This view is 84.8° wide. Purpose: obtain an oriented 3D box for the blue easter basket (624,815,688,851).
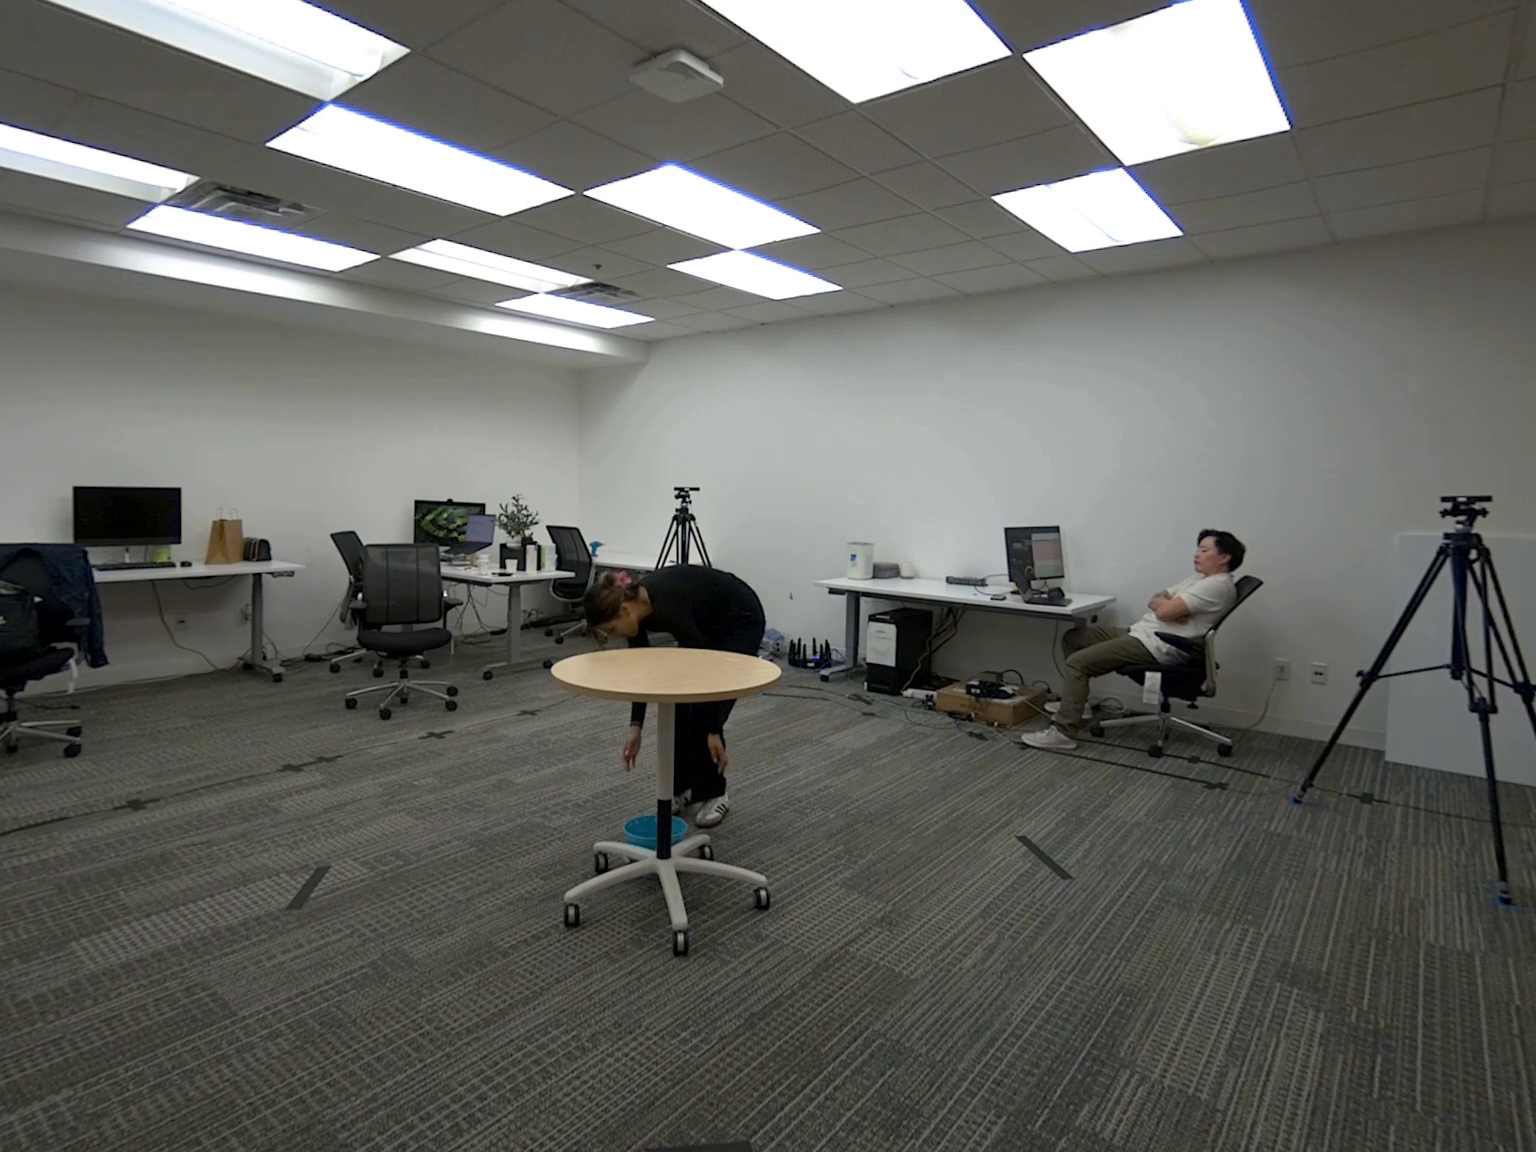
[{"bbox_3d":[-0.430,0.986,3.111,0.243,0.155,0.245,0,5,-2],"label":"blue easter basket"}]
